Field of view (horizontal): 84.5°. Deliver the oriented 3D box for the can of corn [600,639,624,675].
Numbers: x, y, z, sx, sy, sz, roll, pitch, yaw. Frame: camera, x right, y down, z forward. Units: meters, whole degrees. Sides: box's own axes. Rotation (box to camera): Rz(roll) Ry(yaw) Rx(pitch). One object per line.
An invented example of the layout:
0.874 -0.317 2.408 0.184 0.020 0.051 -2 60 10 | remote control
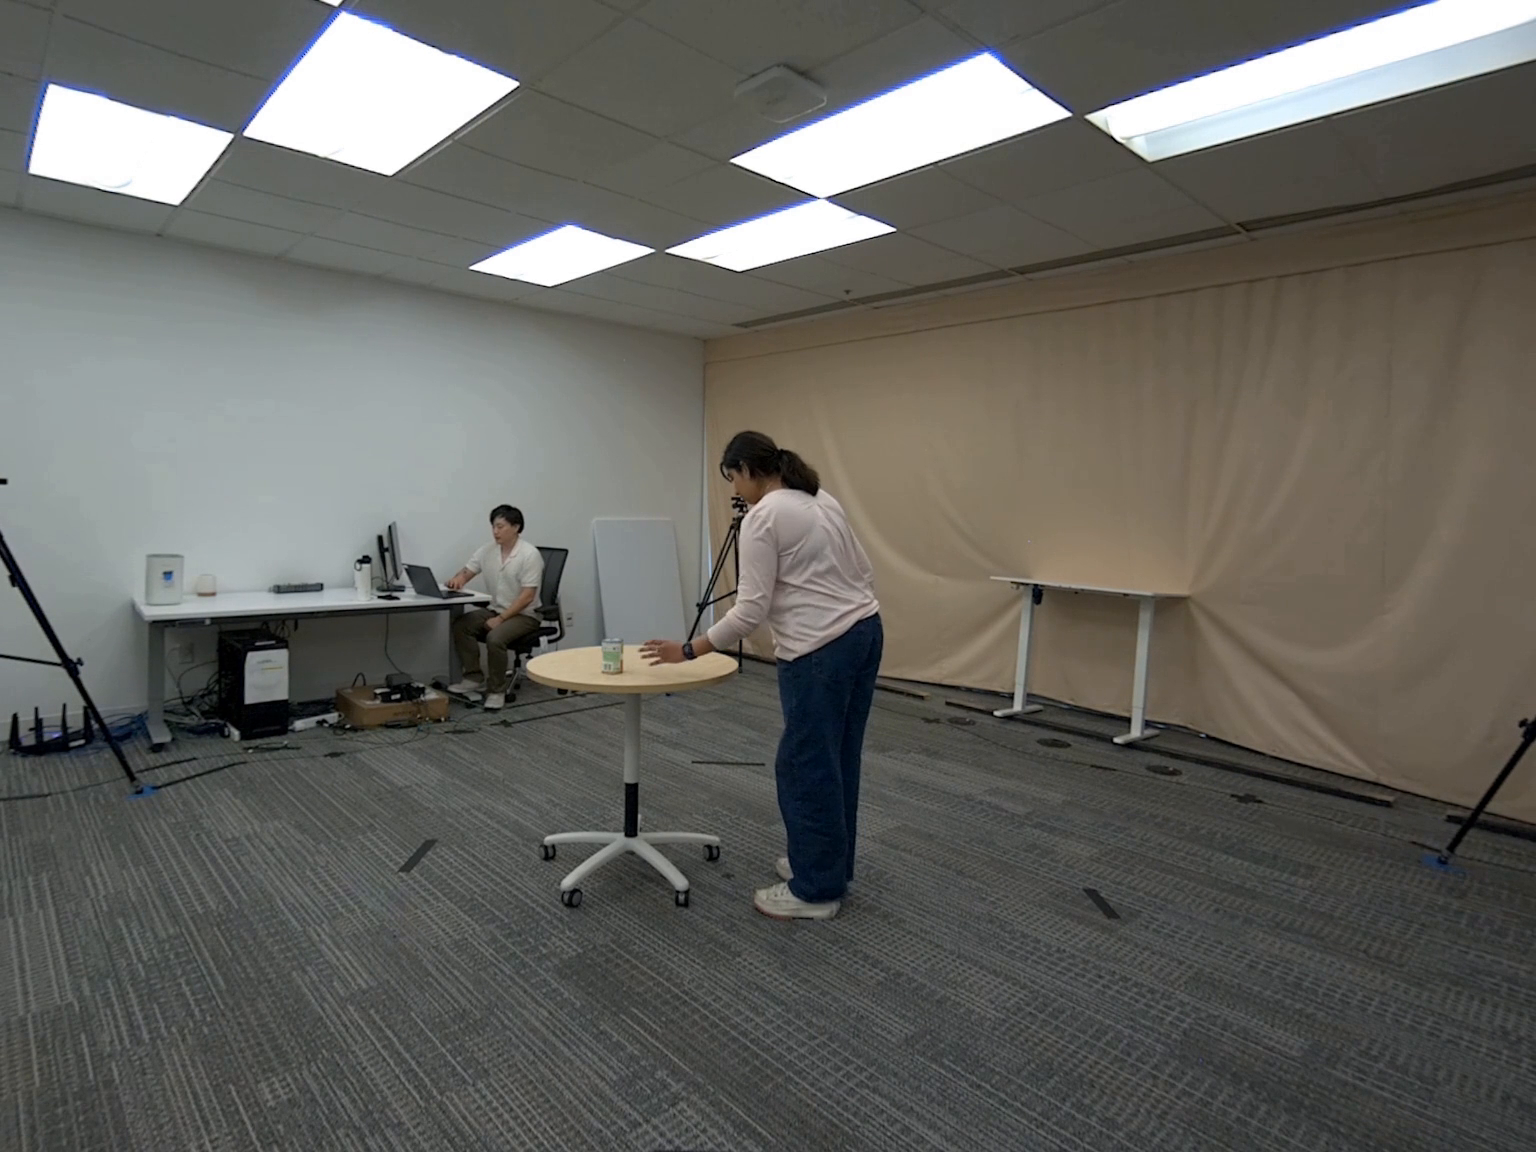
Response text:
-0.535 0.278 2.887 0.074 0.111 0.074 1 3 -1 | can of corn
